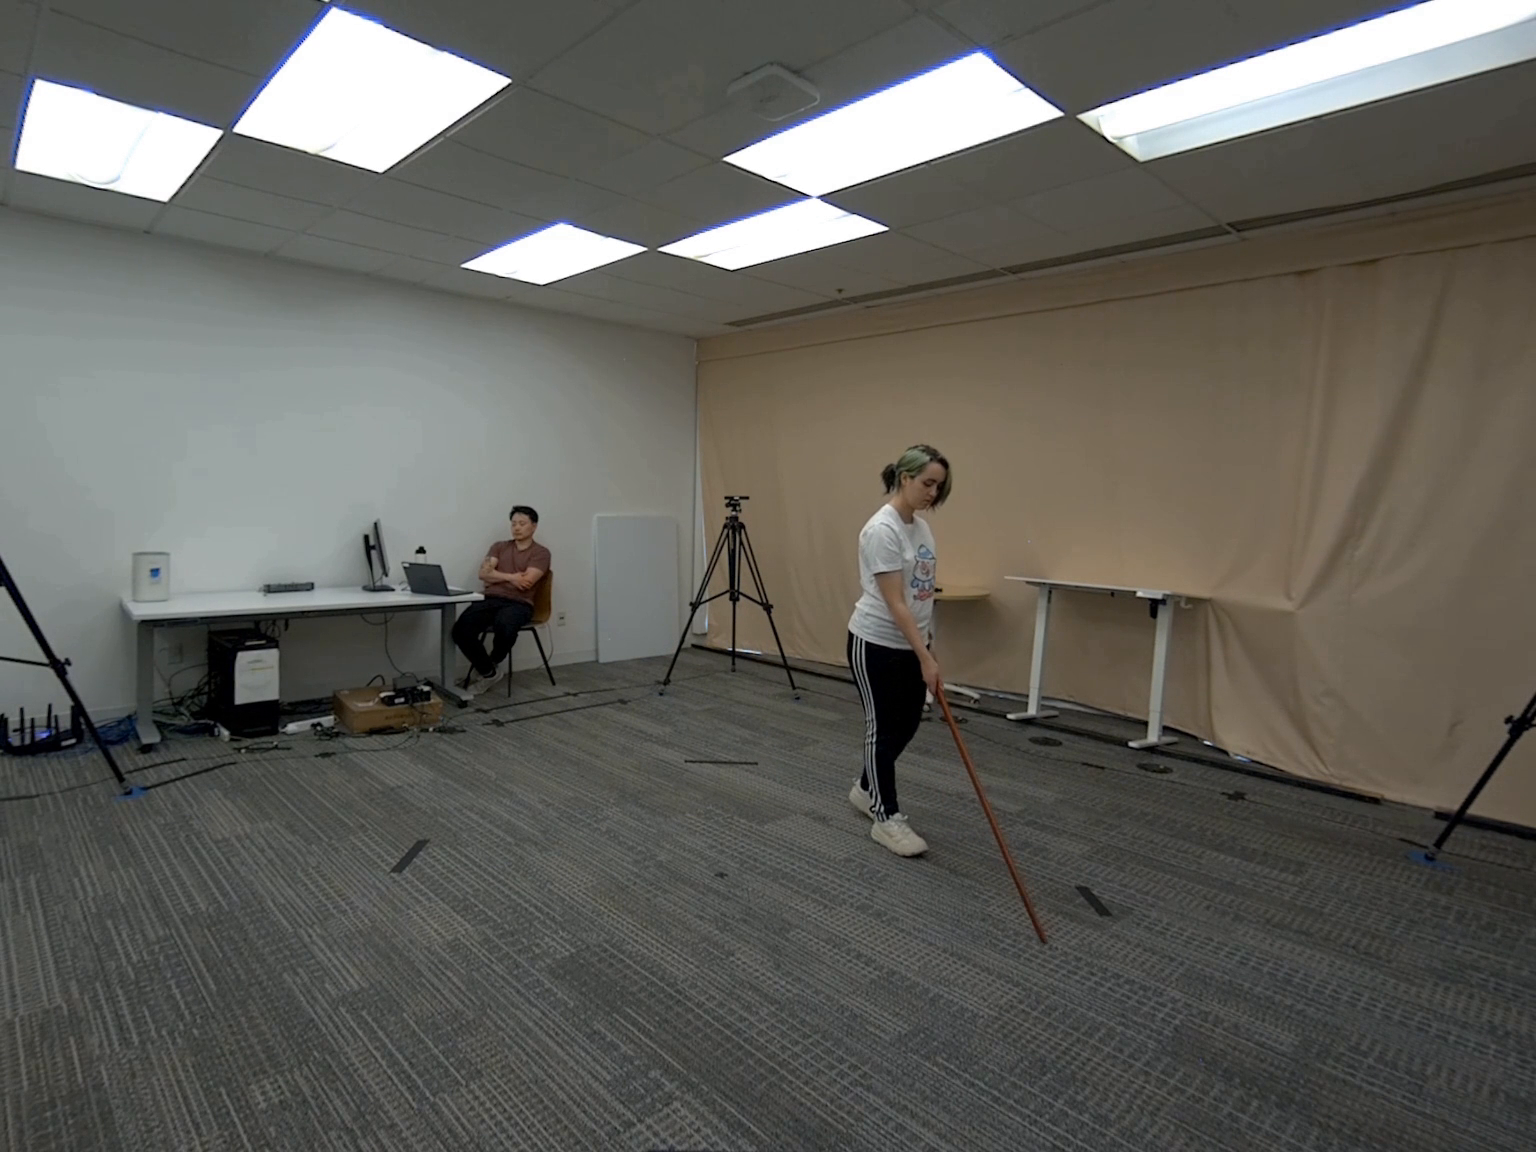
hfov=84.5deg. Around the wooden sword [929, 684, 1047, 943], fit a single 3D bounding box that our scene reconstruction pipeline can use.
[{"bbox_3d":[0.760,0.778,2.971,0.023,1.052,0.051,1,-39,-26],"label":"wooden sword"}]
